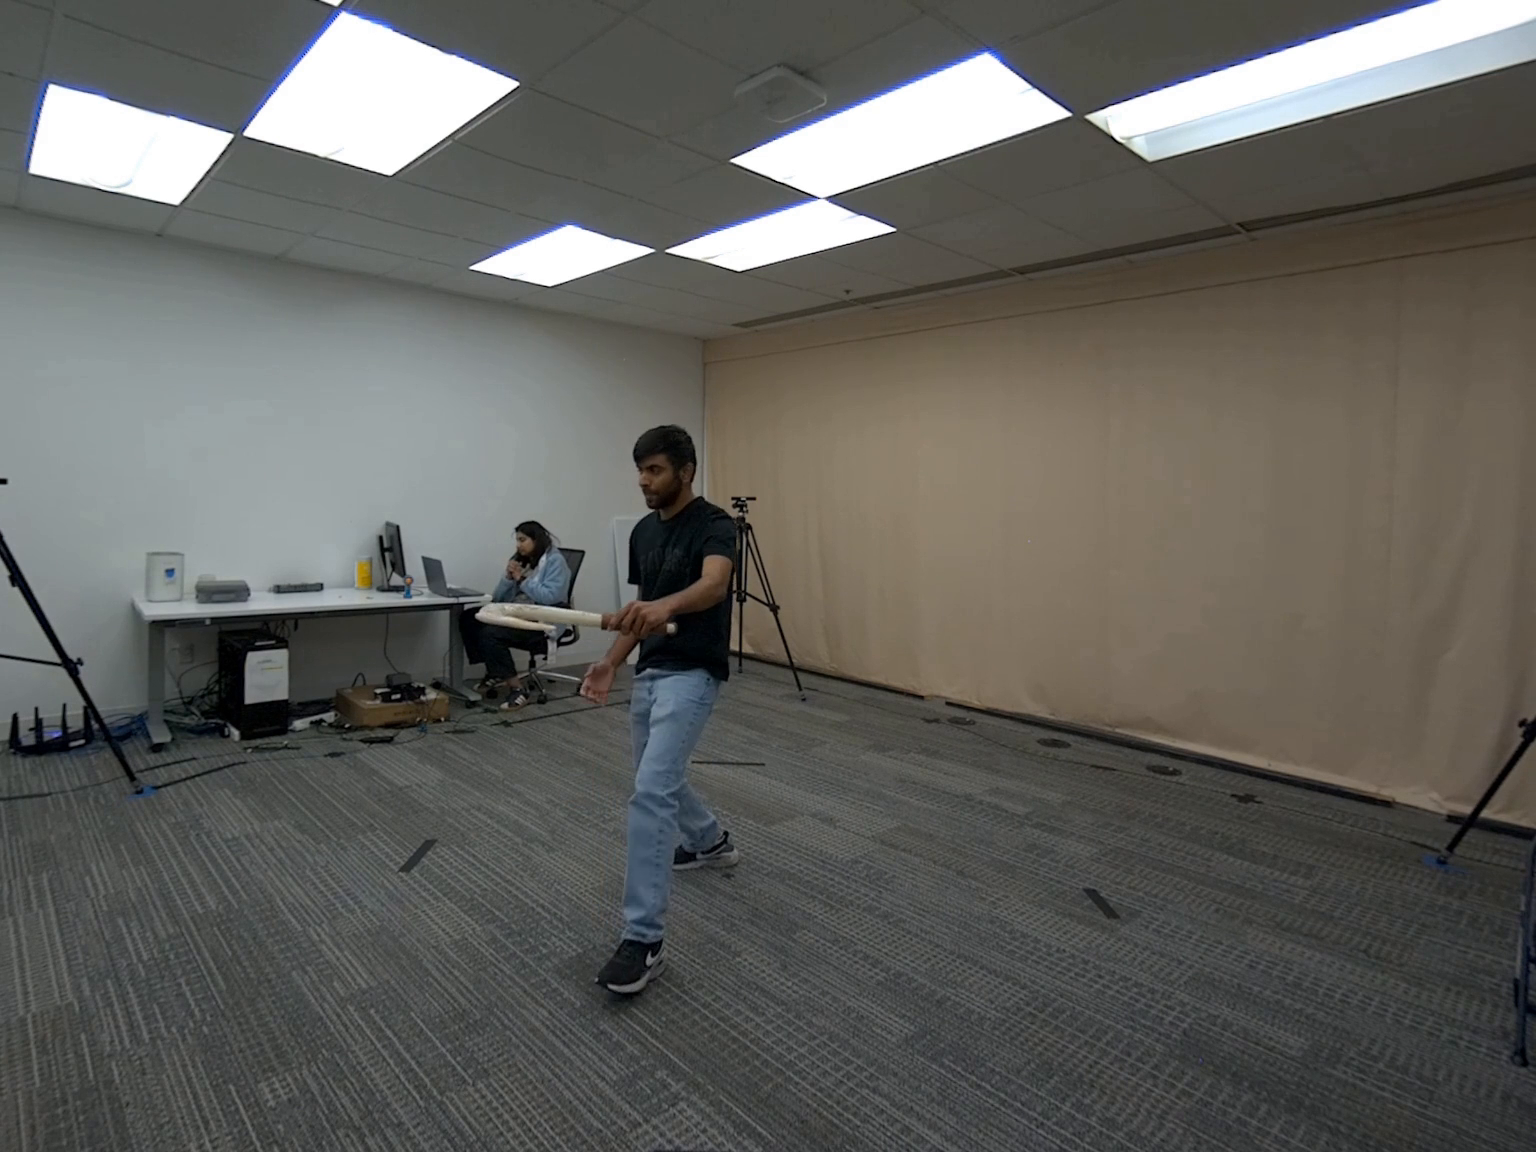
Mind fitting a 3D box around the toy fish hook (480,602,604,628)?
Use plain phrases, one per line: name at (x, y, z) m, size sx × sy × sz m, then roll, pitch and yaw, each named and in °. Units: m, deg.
toy fish hook at (-0.483, 0.135, 2.126) m, size 0.498 × 0.048 × 0.229 m, roll 3°, pitch 8°, yaw -22°
